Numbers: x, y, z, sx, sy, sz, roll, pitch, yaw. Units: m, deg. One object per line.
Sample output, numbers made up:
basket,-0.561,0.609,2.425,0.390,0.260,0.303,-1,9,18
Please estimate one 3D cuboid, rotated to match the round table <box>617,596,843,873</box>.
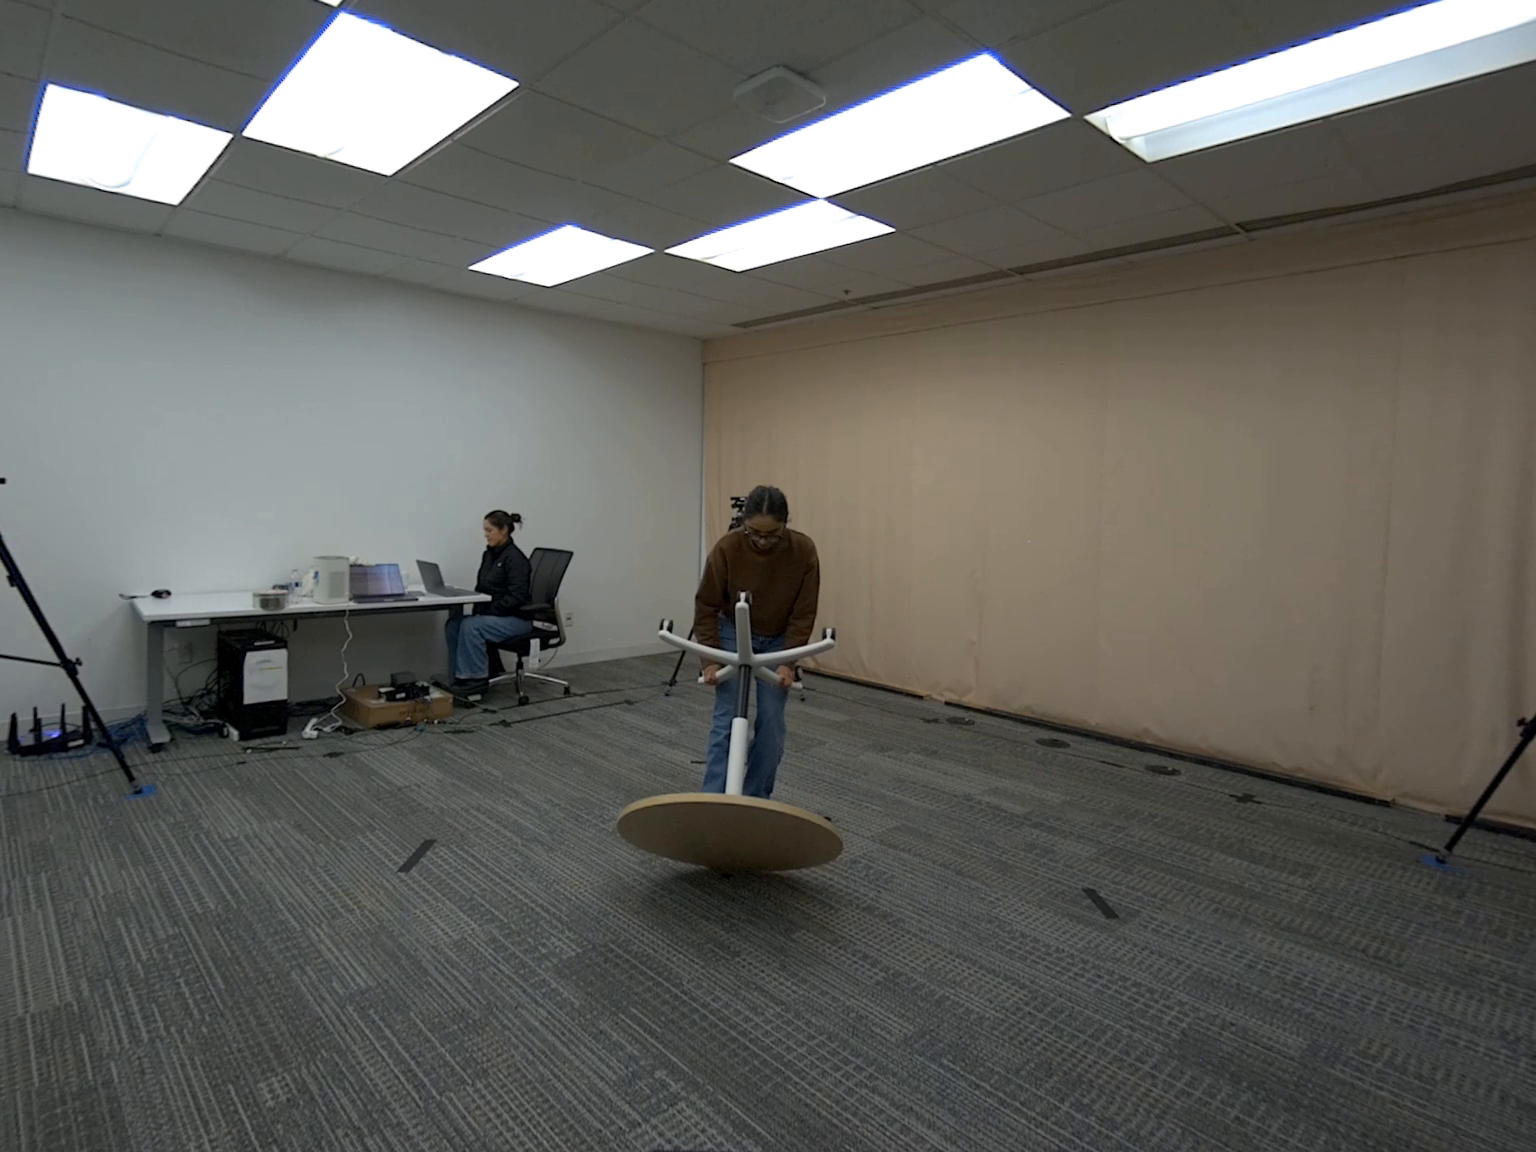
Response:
round table,-0.105,0.569,3.070,0.765,0.808,0.748,4,-34,1
